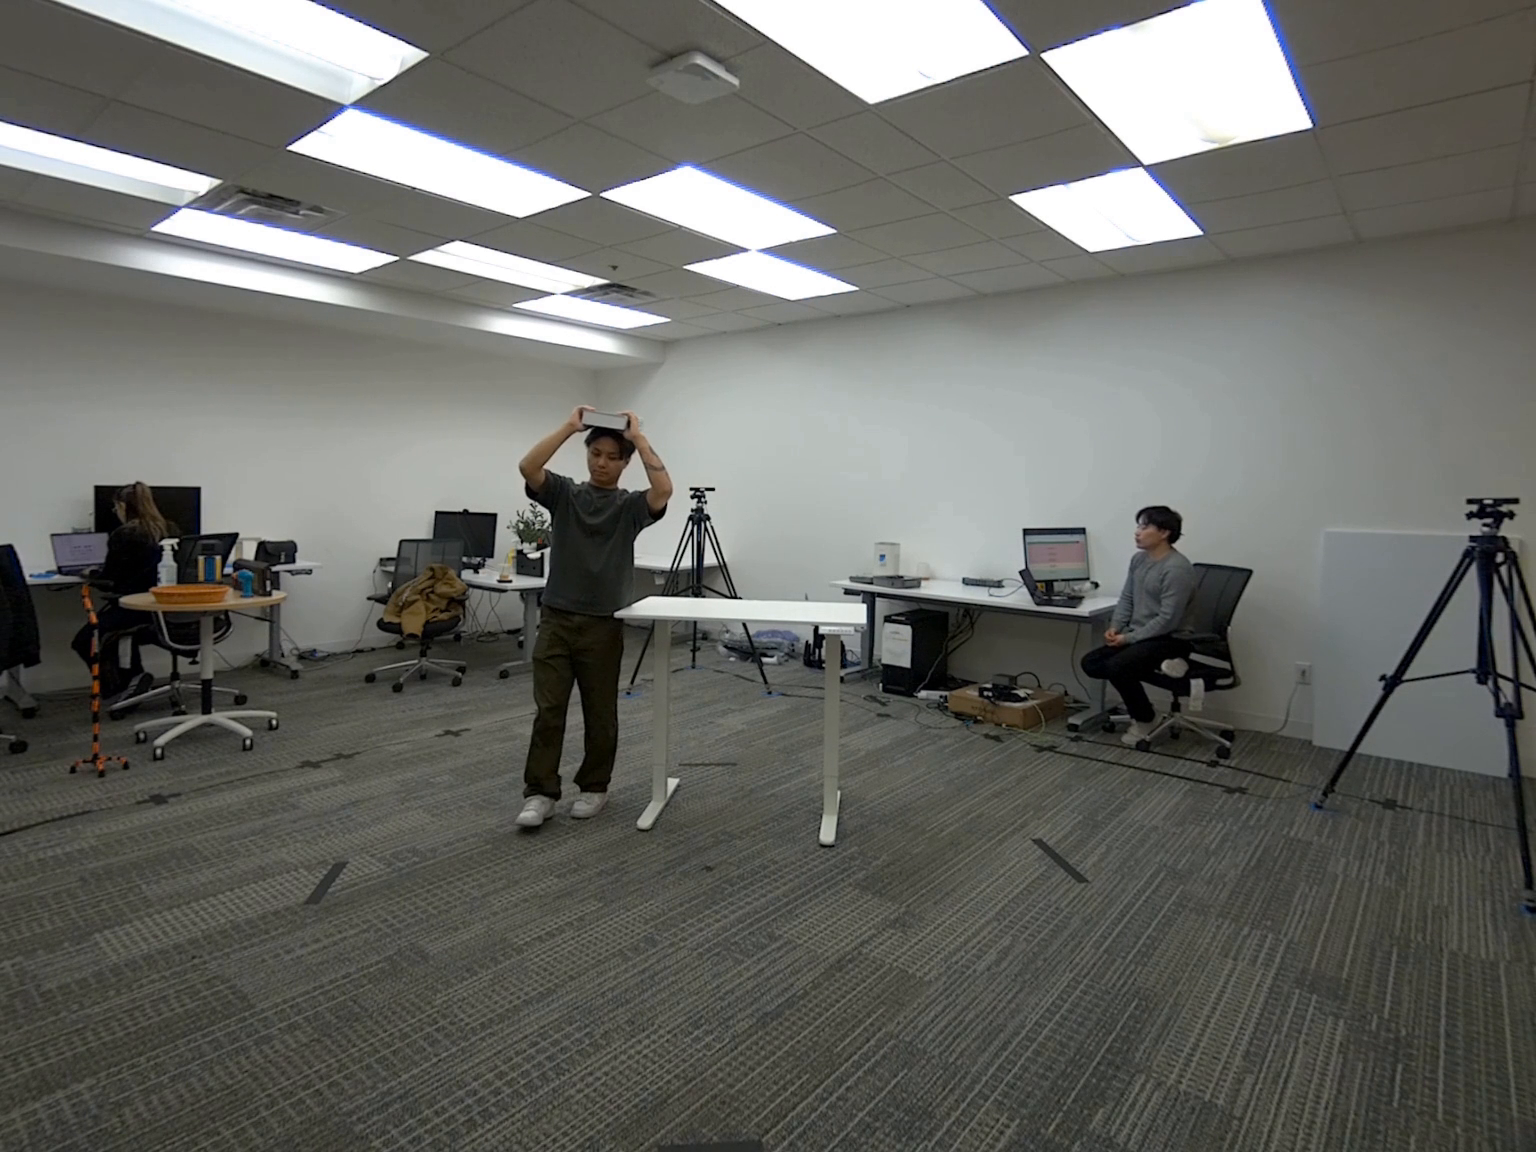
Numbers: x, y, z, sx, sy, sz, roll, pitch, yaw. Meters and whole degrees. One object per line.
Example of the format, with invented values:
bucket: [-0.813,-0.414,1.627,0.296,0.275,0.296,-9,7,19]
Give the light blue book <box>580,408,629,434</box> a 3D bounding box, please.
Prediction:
light blue book: [-0.664,-0.647,3.523,0.193,0.058,0.261,9,10,5]
